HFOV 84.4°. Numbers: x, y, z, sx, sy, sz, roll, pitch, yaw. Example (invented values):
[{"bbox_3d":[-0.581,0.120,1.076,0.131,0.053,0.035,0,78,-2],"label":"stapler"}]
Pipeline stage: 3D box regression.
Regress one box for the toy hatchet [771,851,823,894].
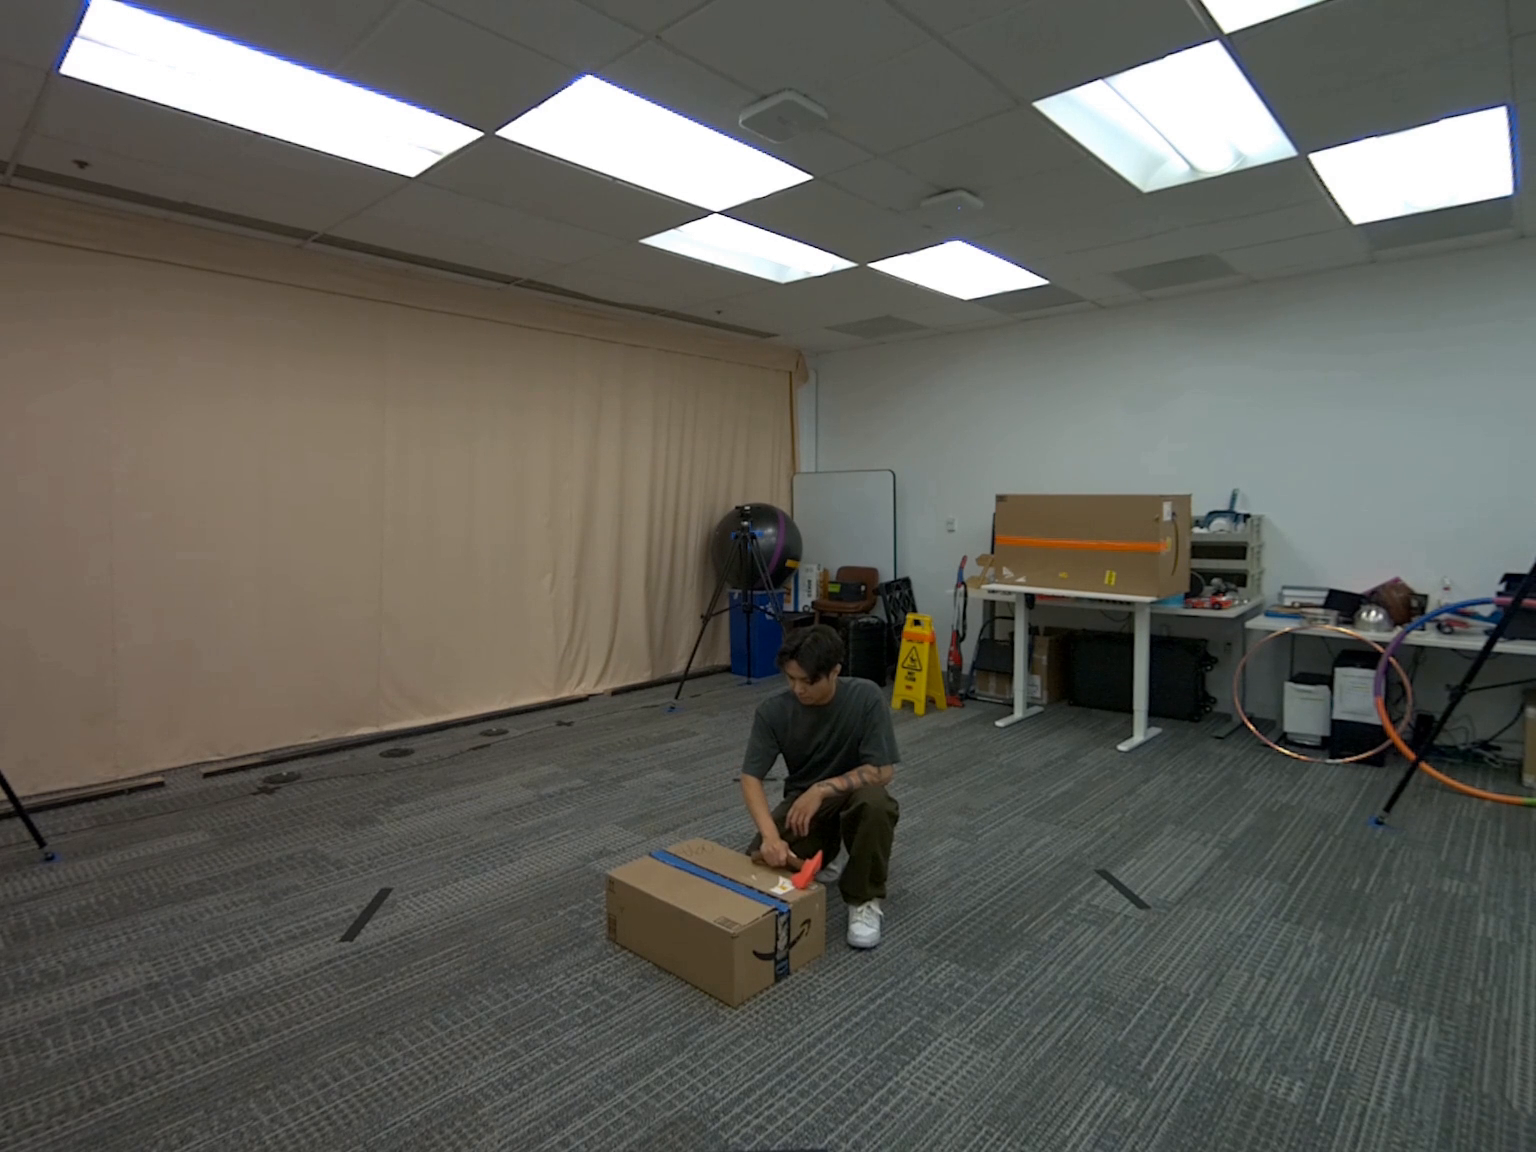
[{"bbox_3d":[0.045,0.934,2.674,0.276,0.029,0.131,-17,36,36],"label":"toy hatchet"}]
